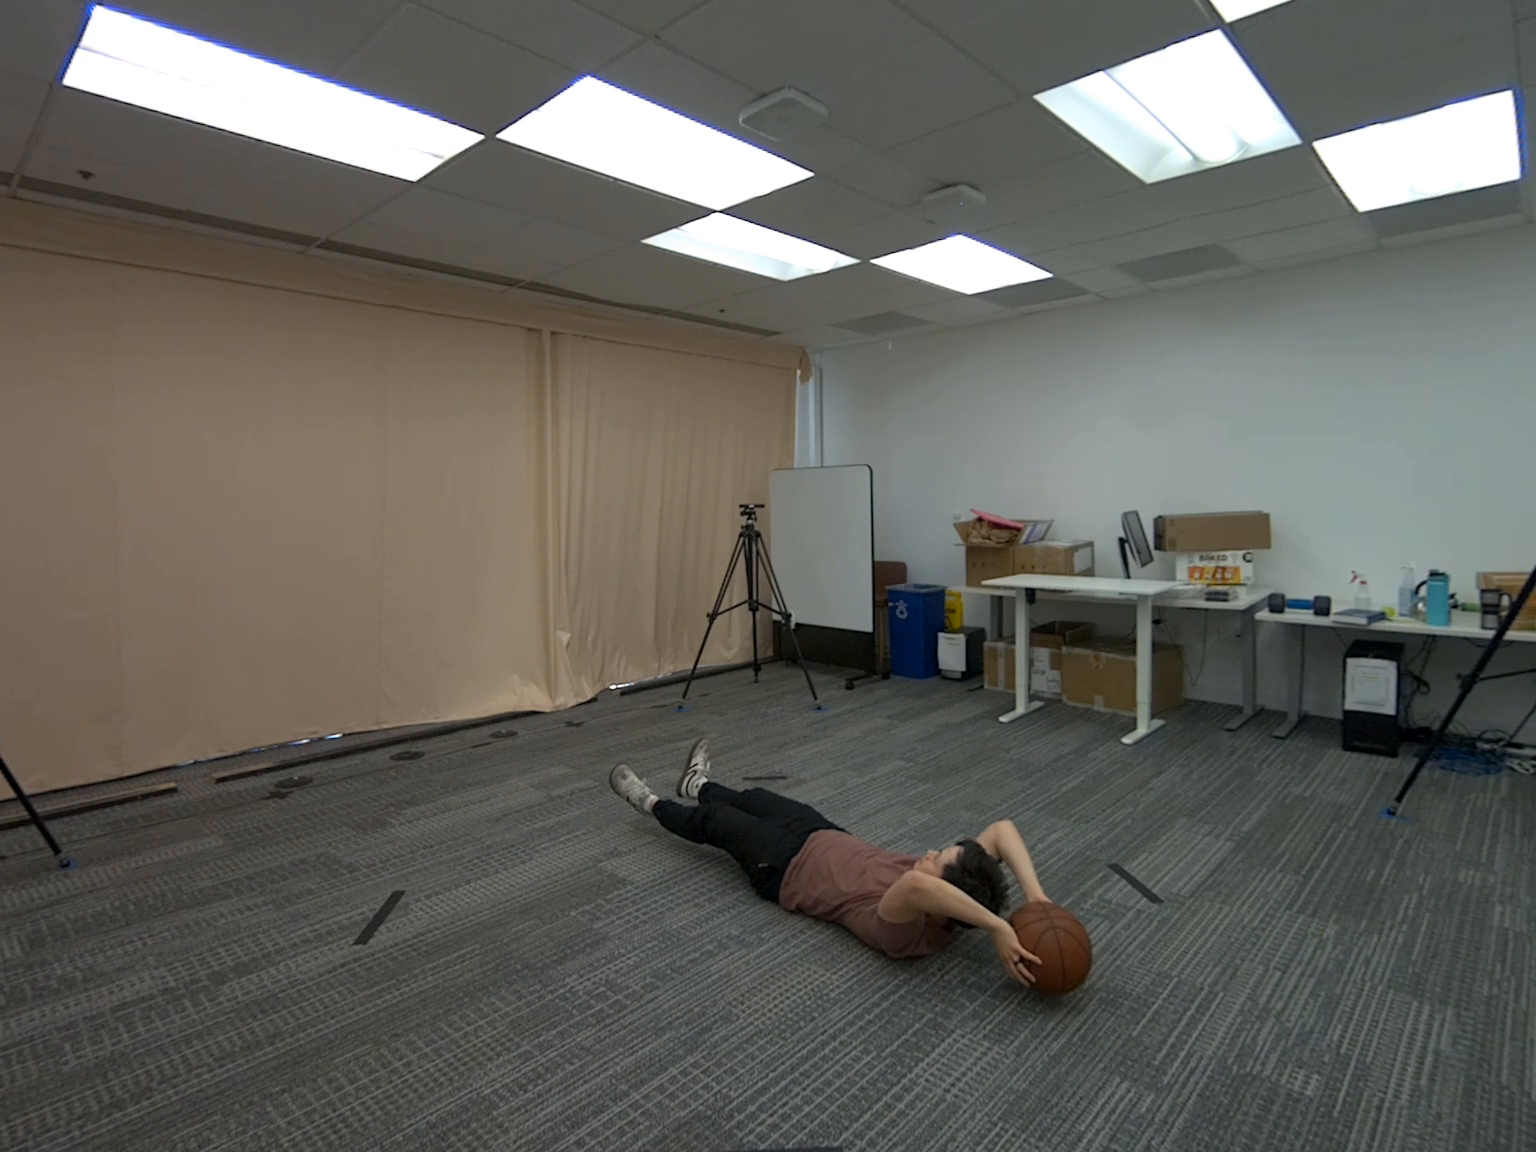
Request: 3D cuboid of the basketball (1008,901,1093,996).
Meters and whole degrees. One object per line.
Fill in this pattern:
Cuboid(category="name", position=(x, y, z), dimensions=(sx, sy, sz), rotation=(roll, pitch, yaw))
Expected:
Cuboid(category="basketball", position=(0.770, 1.038, 2.347), dimensions=(0.236, 0.235, 0.236), rotation=(-1, 3, -2))
